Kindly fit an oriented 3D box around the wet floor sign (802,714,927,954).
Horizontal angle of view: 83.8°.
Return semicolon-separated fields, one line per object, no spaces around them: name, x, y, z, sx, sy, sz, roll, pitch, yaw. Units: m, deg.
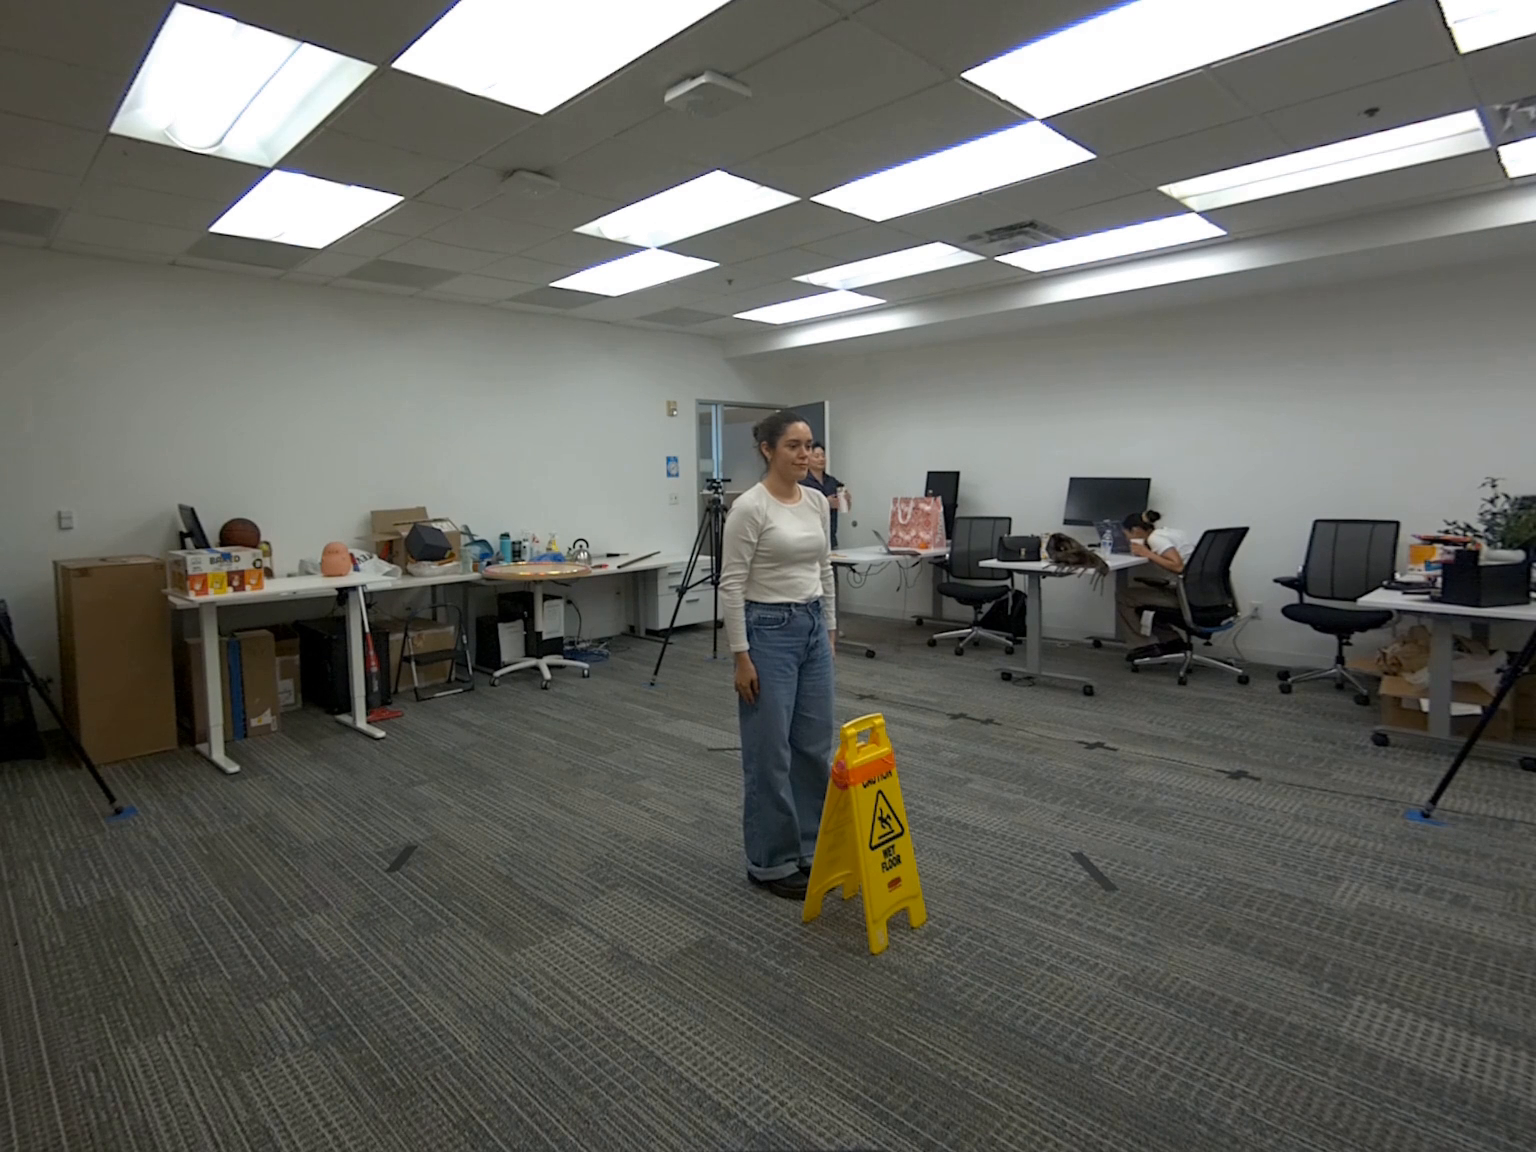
wet floor sign;0.302;0.764;2.665;0.299;0.642;0.275;5;8;45
